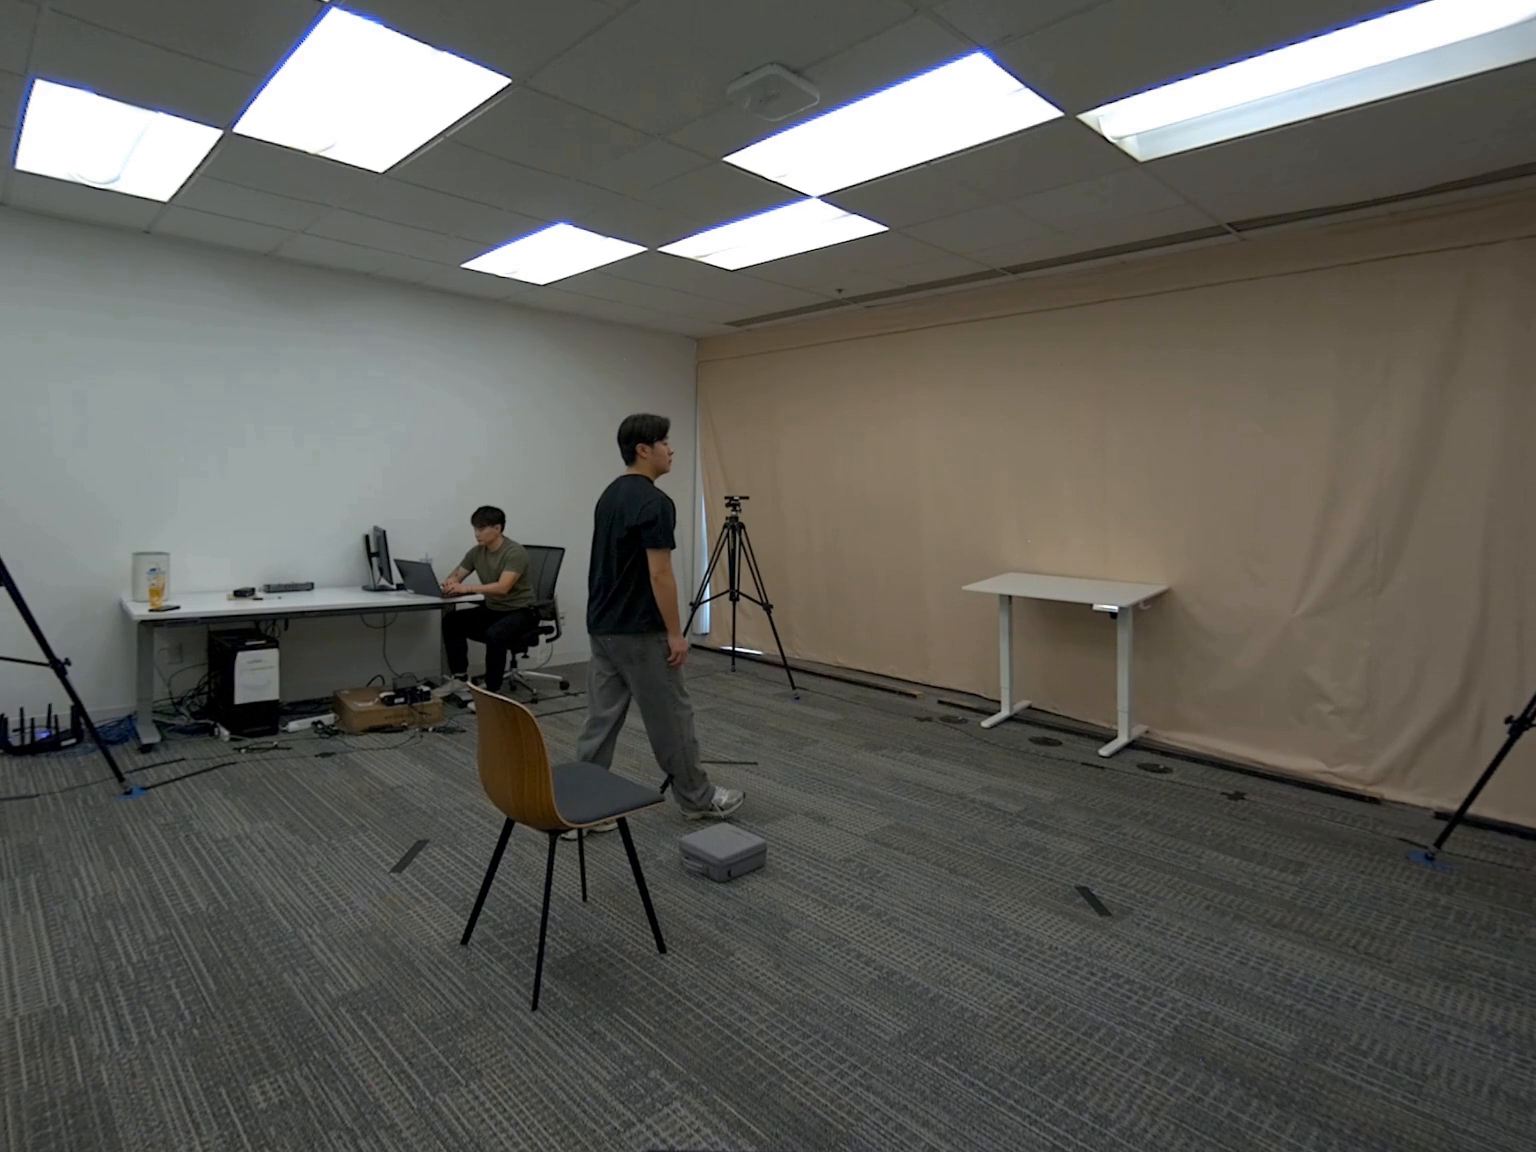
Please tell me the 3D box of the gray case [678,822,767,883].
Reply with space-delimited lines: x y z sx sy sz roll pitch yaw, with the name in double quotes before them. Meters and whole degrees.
"gray case" -0.183 1.043 3.177 0.281 0.103 0.270 -5 8 -44
